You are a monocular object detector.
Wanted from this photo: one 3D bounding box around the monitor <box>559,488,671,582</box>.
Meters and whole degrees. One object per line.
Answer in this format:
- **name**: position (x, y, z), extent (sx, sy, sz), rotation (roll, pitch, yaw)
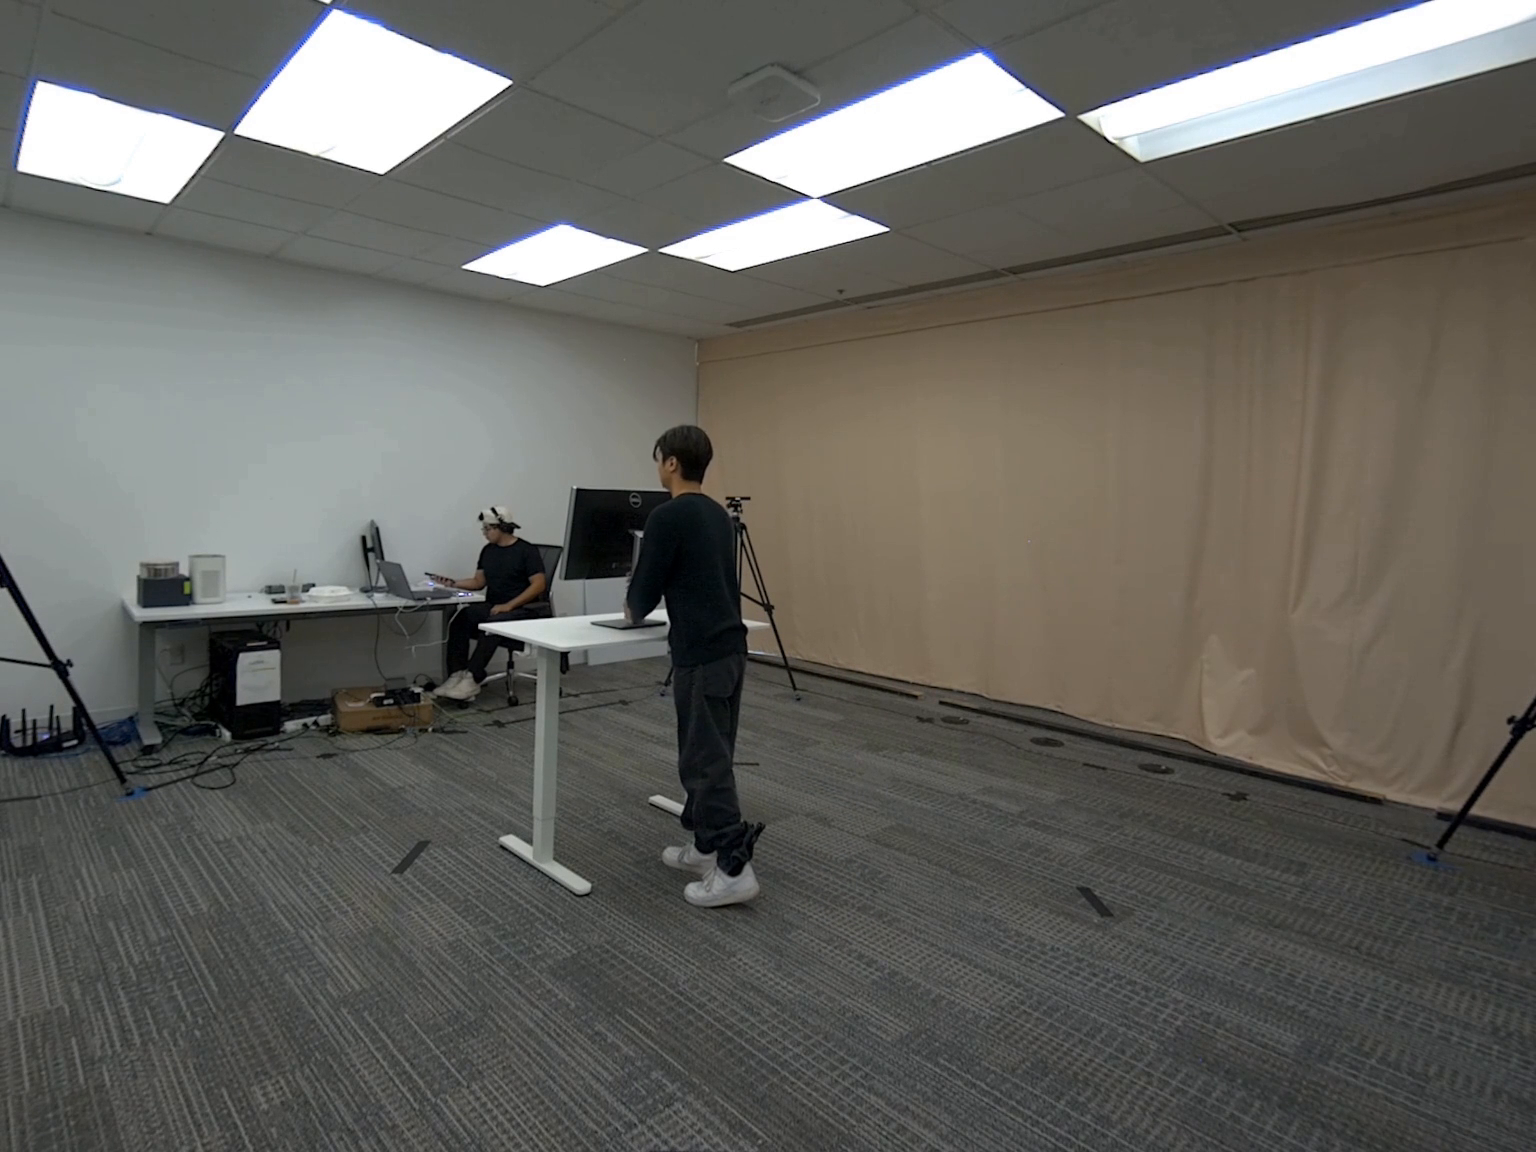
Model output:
- **monitor**: position (-0.551, -0.077, 3.337), extent (0.178, 0.516, 0.518), rotation (-4, 1, 42)
